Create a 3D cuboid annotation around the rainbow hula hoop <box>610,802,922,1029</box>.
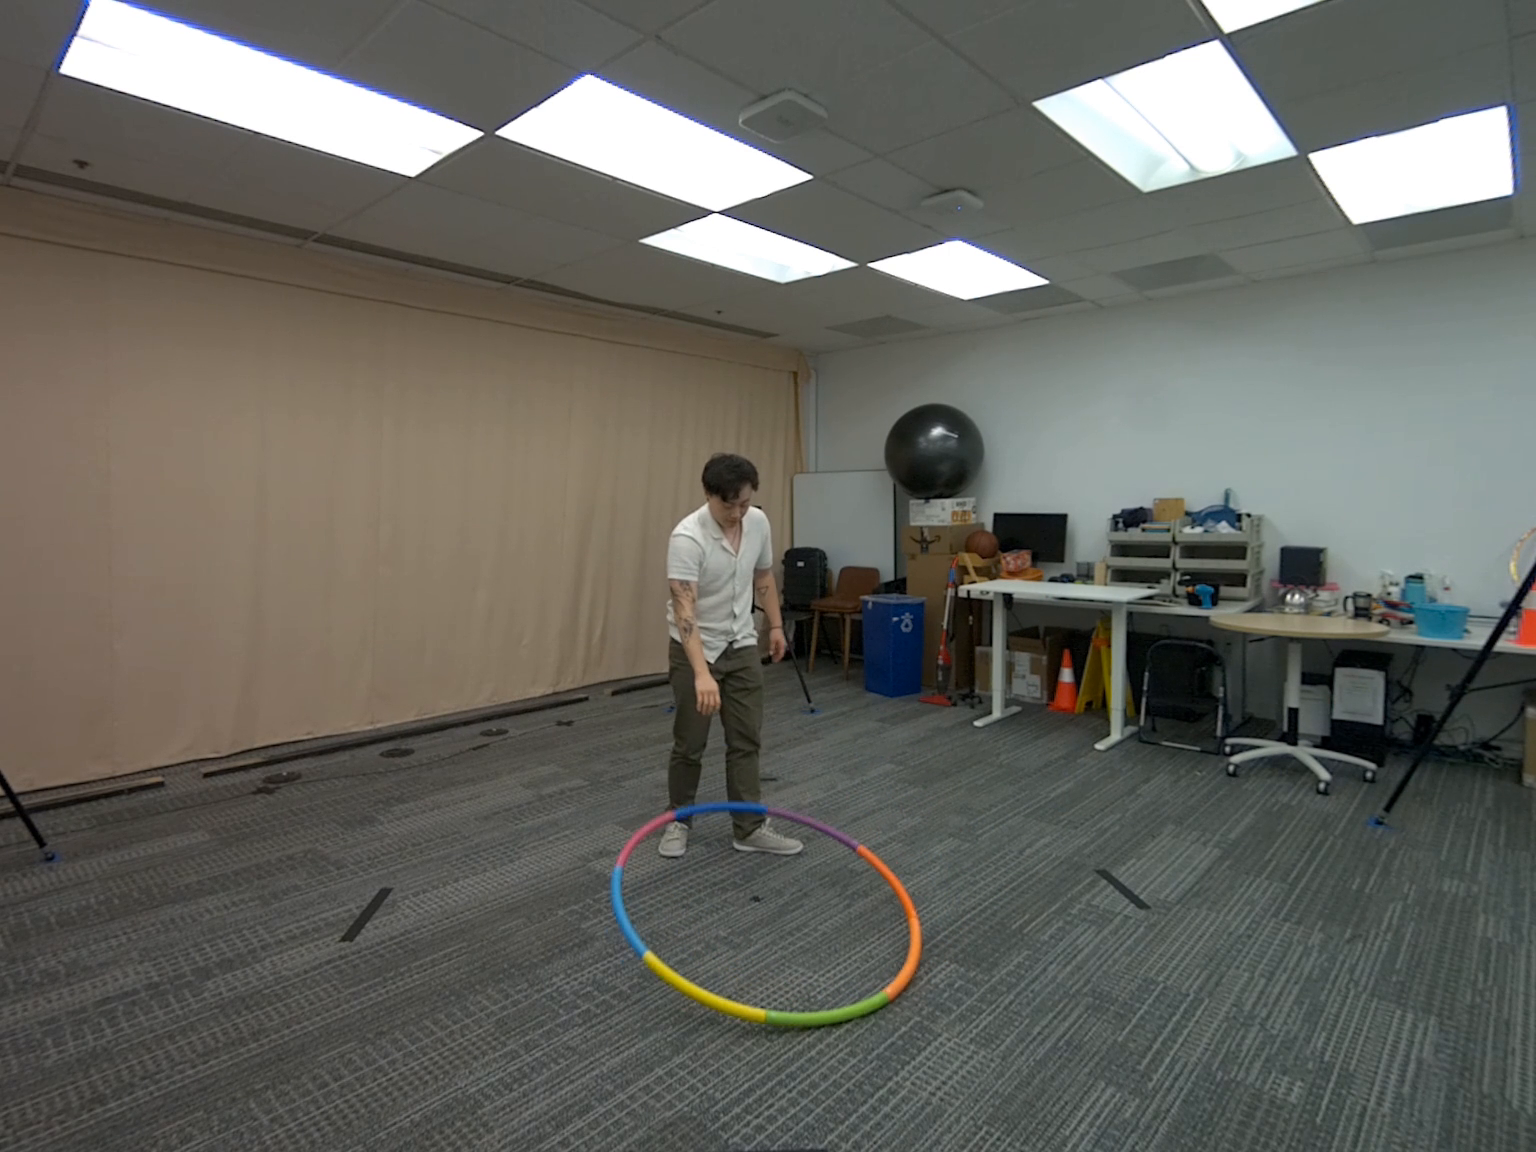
[{"bbox_3d":[0.017,1.017,2.679,0.975,0.035,0.990,8,17,-4],"label":"rainbow hula hoop"}]
